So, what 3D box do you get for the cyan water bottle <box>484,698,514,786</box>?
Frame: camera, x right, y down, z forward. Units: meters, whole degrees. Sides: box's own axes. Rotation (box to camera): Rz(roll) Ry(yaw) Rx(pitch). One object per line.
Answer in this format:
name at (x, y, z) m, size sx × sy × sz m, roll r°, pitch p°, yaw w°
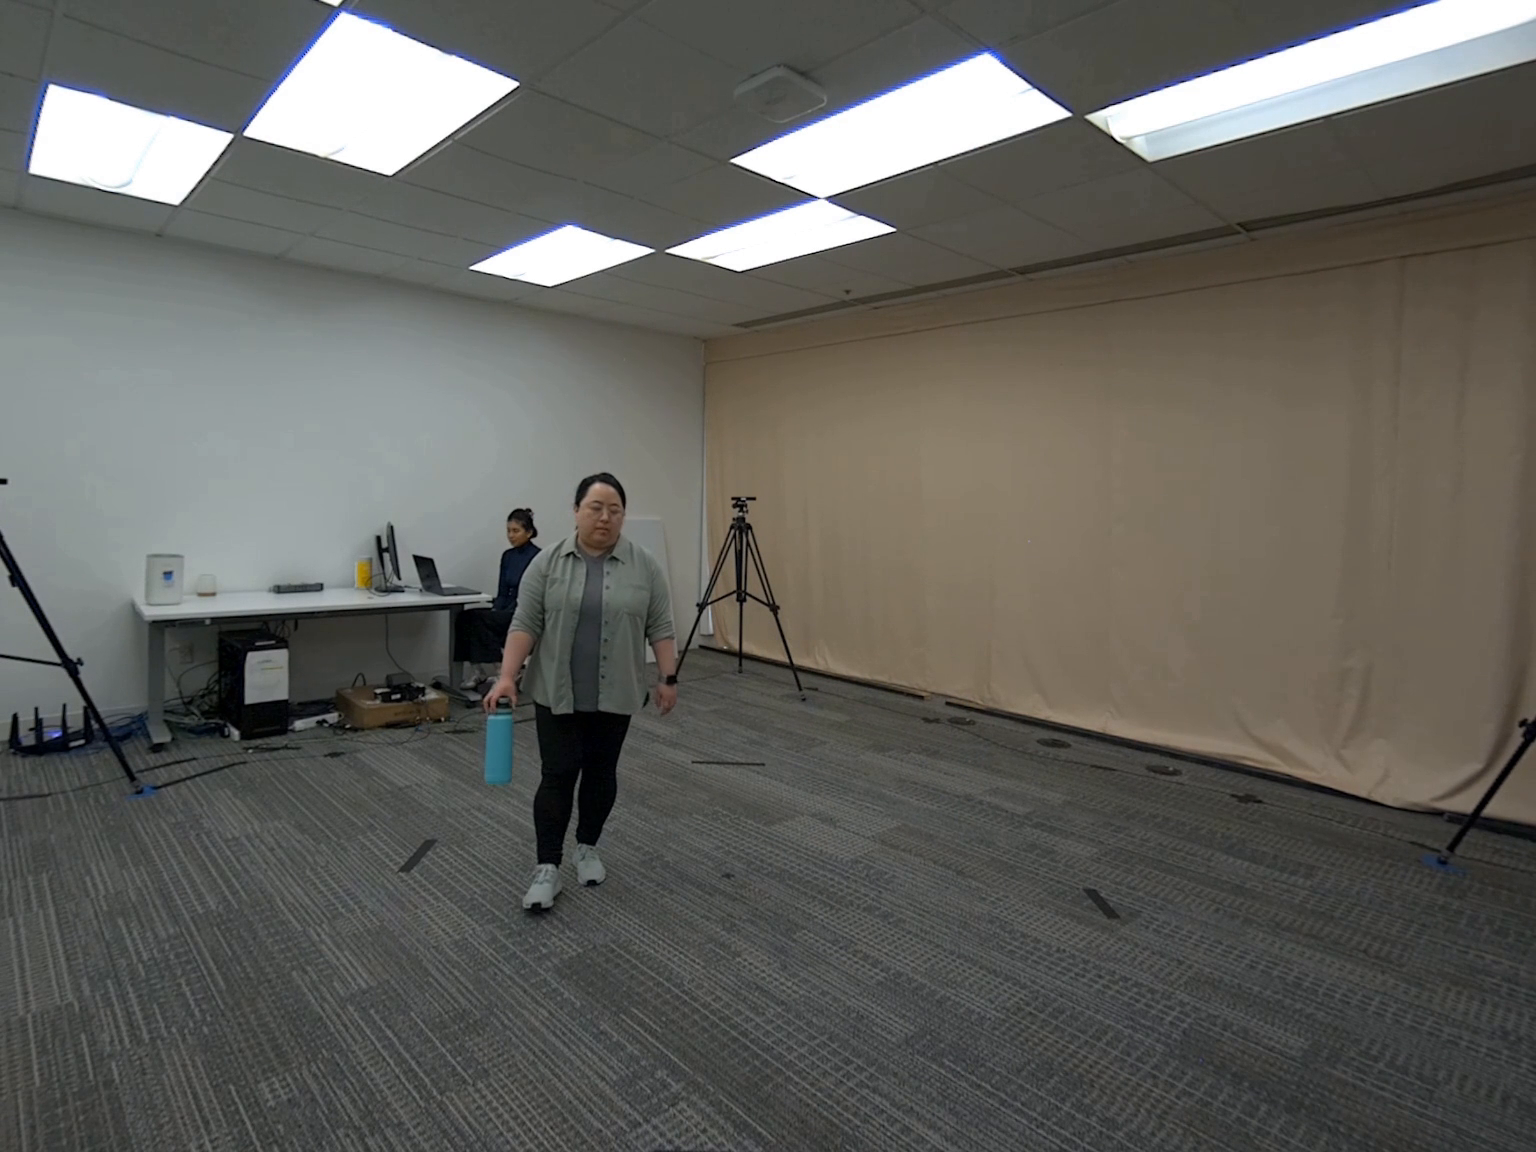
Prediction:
cyan water bottle at (-0.921, 0.561, 2.842) m, size 0.092 × 0.284 × 0.092 m, roll 0°, pitch -5°, yaw -1°
